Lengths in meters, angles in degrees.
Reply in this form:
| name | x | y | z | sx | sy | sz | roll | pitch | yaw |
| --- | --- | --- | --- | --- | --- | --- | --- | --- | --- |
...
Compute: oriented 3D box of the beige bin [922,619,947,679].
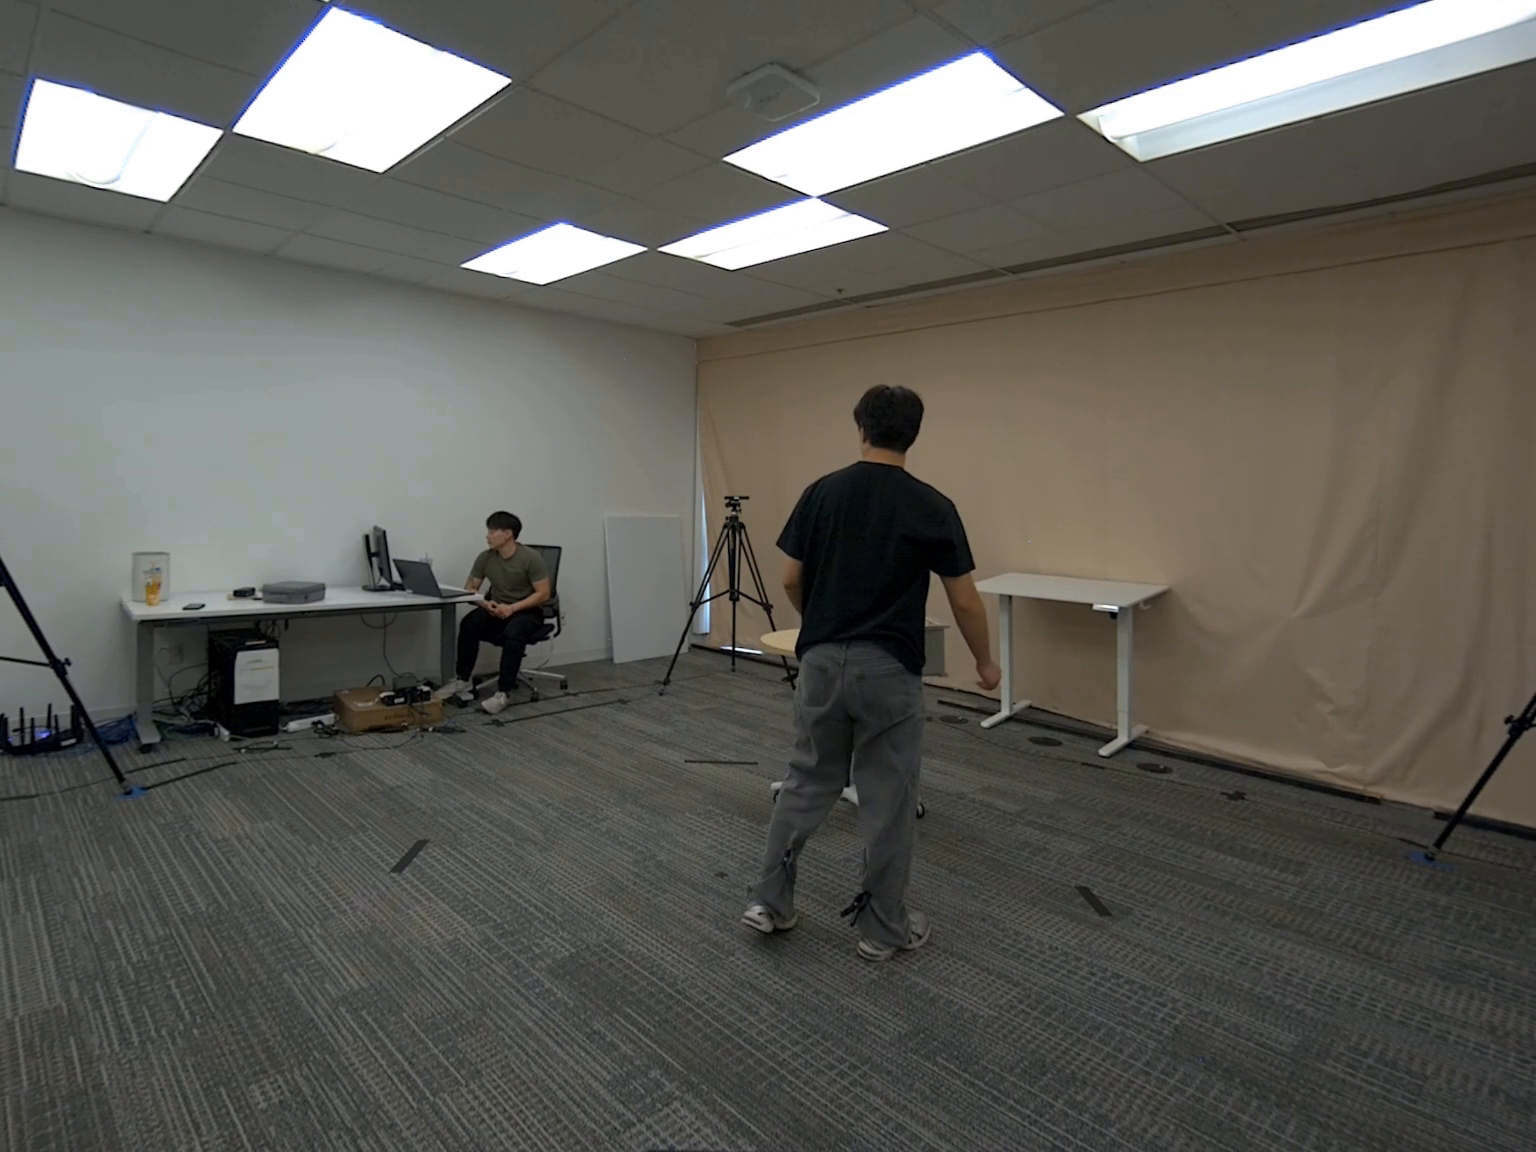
| name | x | y | z | sx | sy | sz | roll | pitch | yaw |
| --- | --- | --- | --- | --- | --- | --- | --- | --- | --- |
| beige bin | 0.378 | 0.251 | 2.978 | 0.420 | 0.188 | 0.380 | -3 | 6 | -6 |
